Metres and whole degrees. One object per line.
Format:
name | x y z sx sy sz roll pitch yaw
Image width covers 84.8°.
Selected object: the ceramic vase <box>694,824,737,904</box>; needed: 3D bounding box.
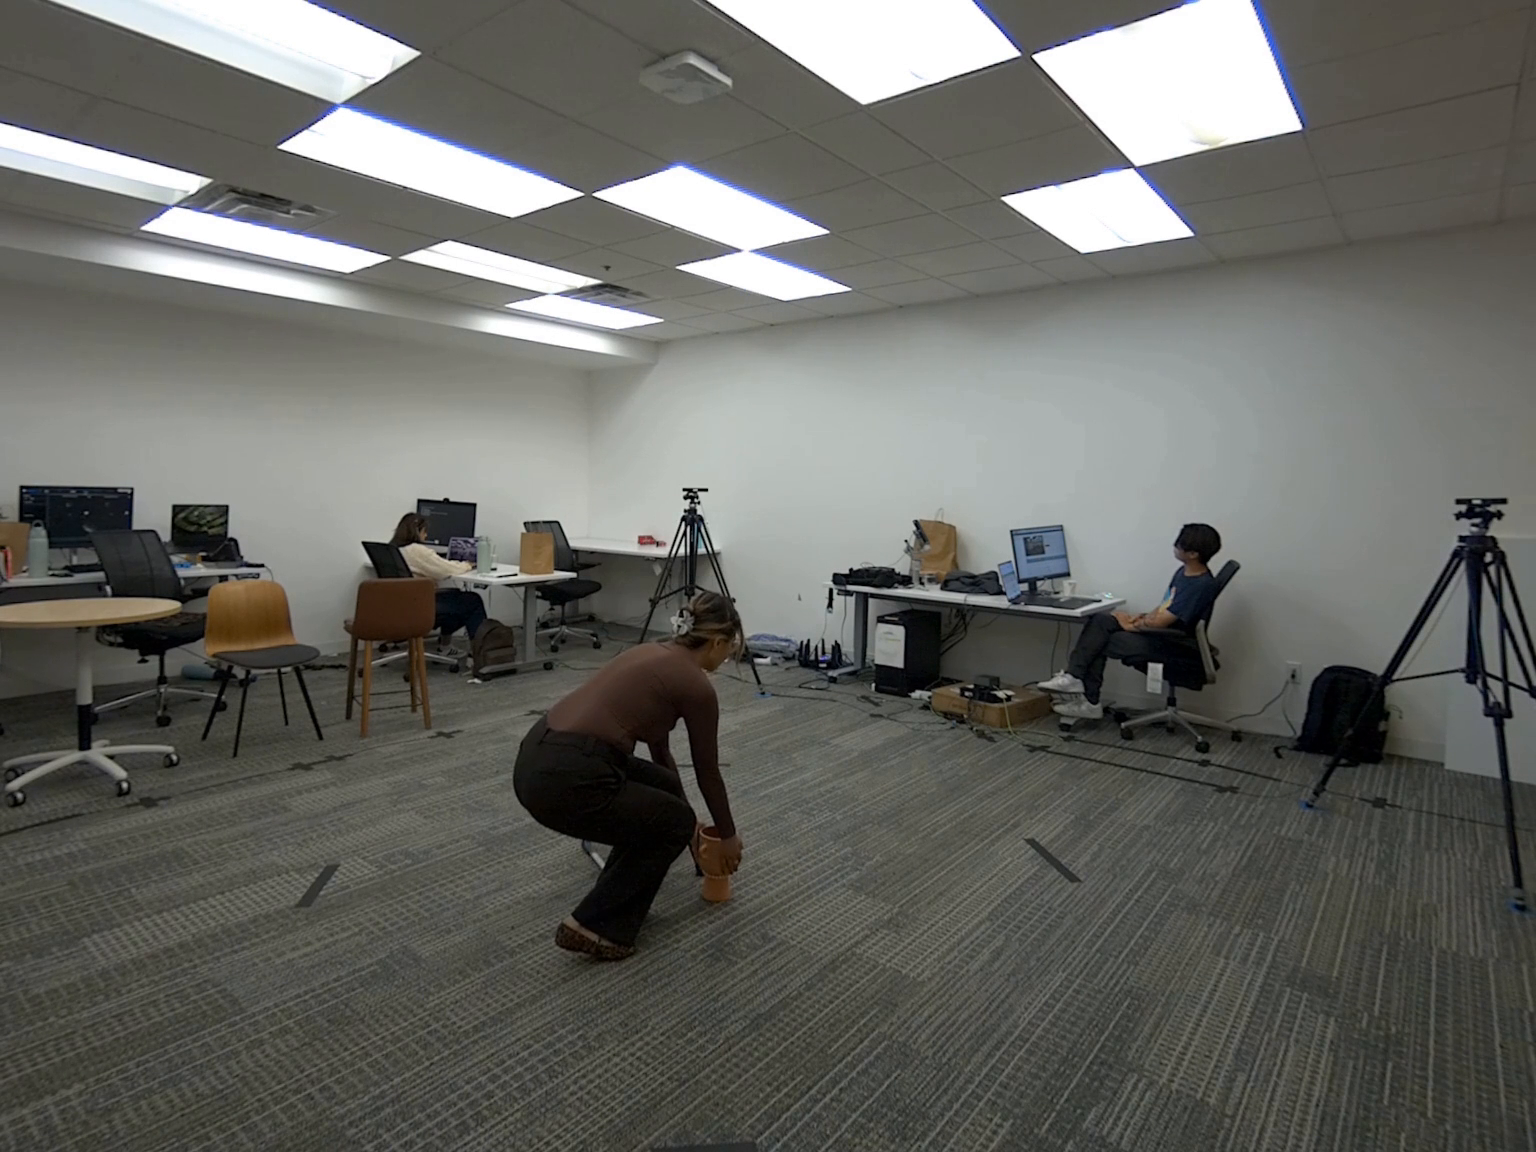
ceramic vase | -0.180 0.966 2.894 0.156 0.219 0.138 2 5 -18
